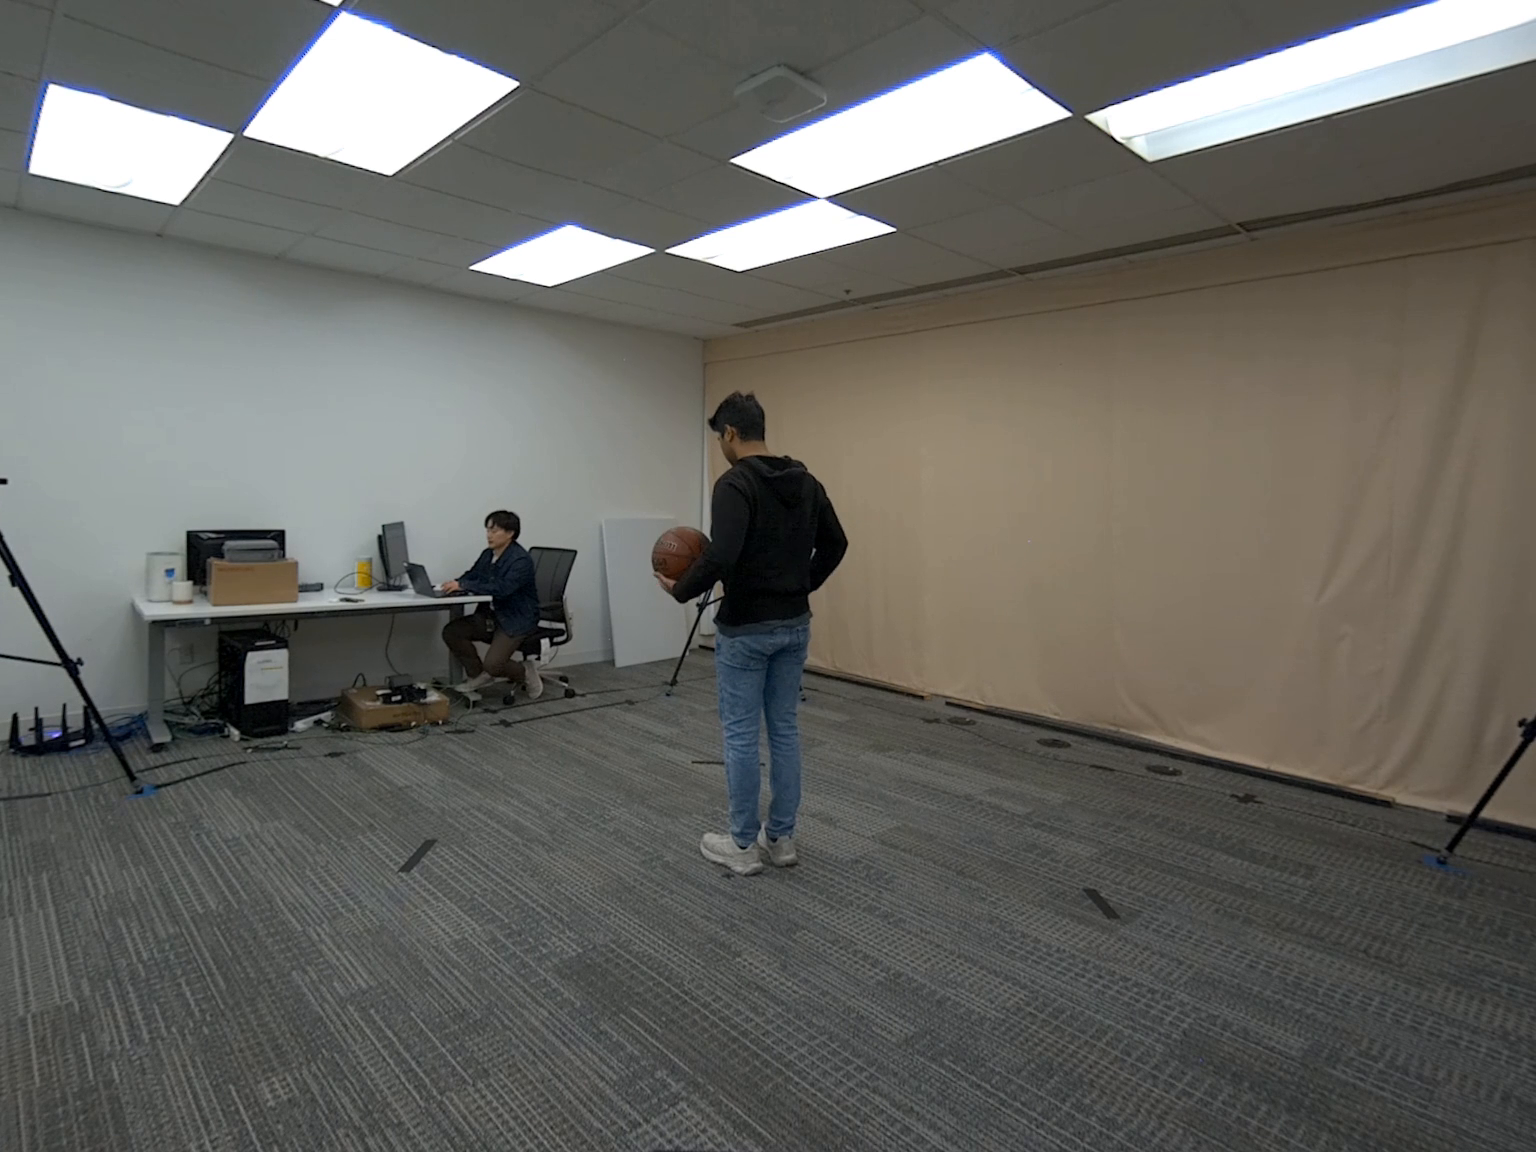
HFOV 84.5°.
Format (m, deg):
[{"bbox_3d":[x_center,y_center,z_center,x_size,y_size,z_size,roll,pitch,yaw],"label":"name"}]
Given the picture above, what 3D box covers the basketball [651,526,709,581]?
[{"bbox_3d":[-0.301,-0.076,3.160,0.236,0.235,0.237,1,4,-1],"label":"basketball"}]
